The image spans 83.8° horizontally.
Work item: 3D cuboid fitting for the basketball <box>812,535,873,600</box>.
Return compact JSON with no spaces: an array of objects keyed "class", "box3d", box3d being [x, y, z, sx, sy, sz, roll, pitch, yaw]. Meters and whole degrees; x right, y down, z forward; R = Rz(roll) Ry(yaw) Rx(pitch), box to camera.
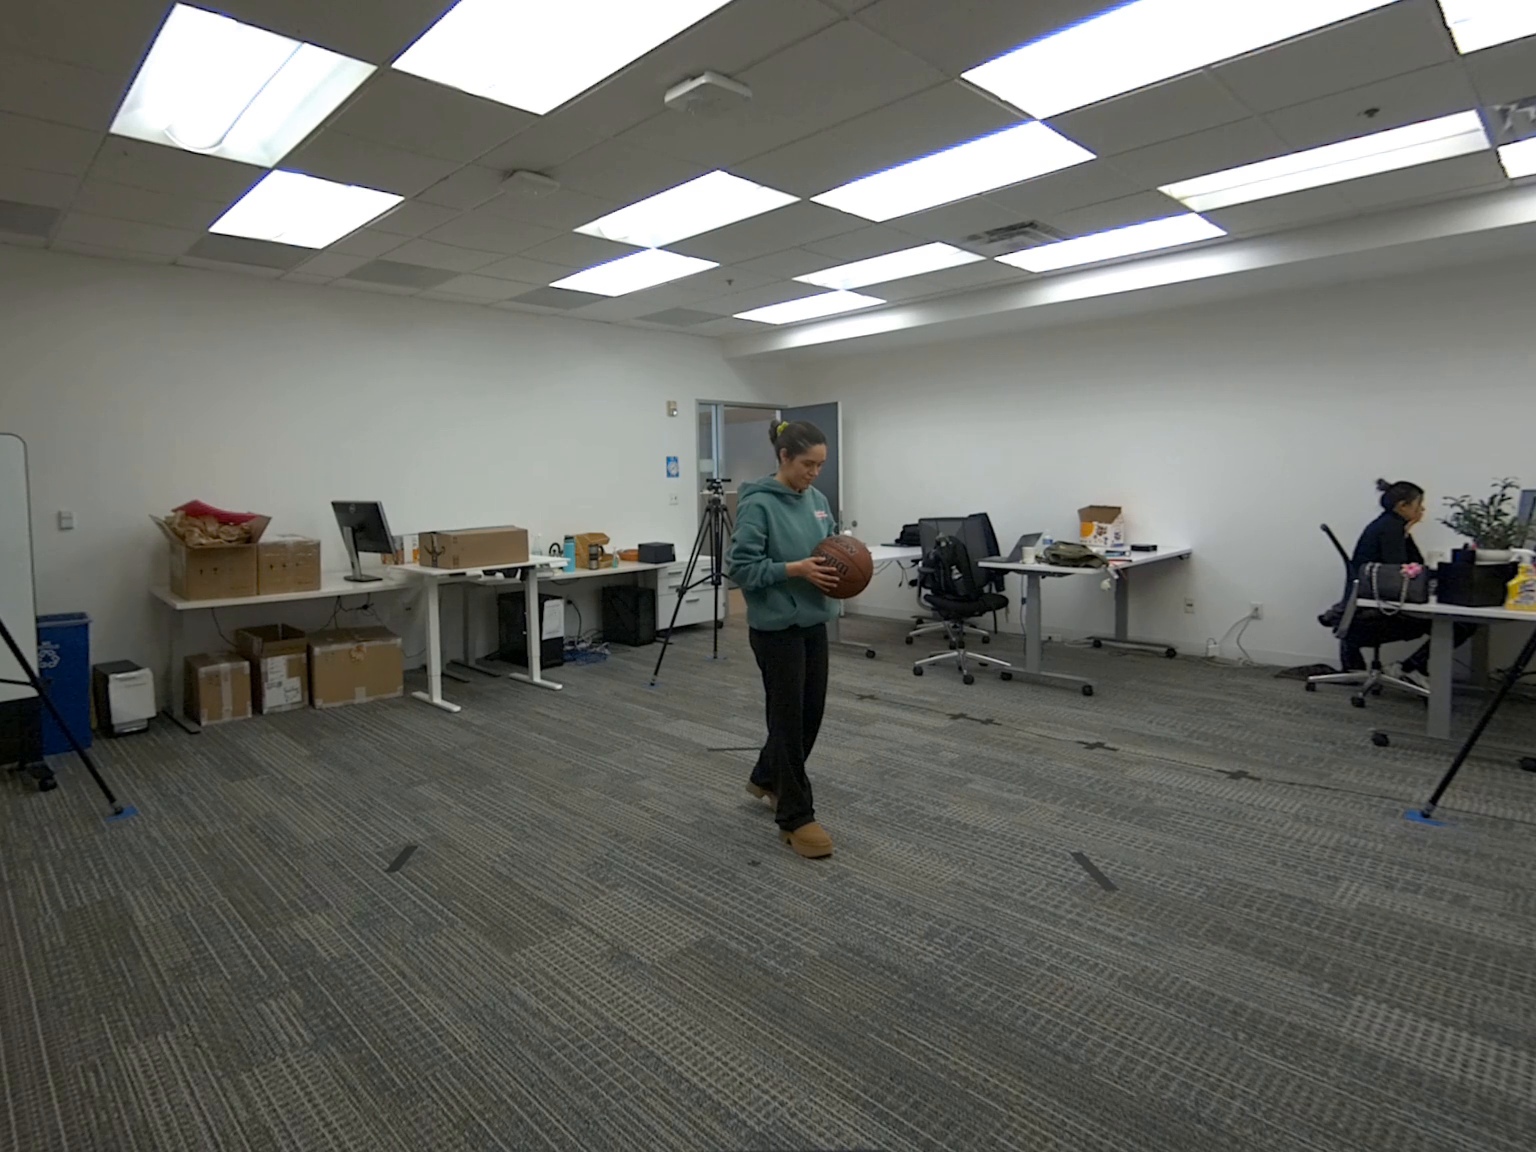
[{"class":"basketball","box3d":[0.260,-0.031,3.128,0.236,0.235,0.237,-1,5,-2]}]
